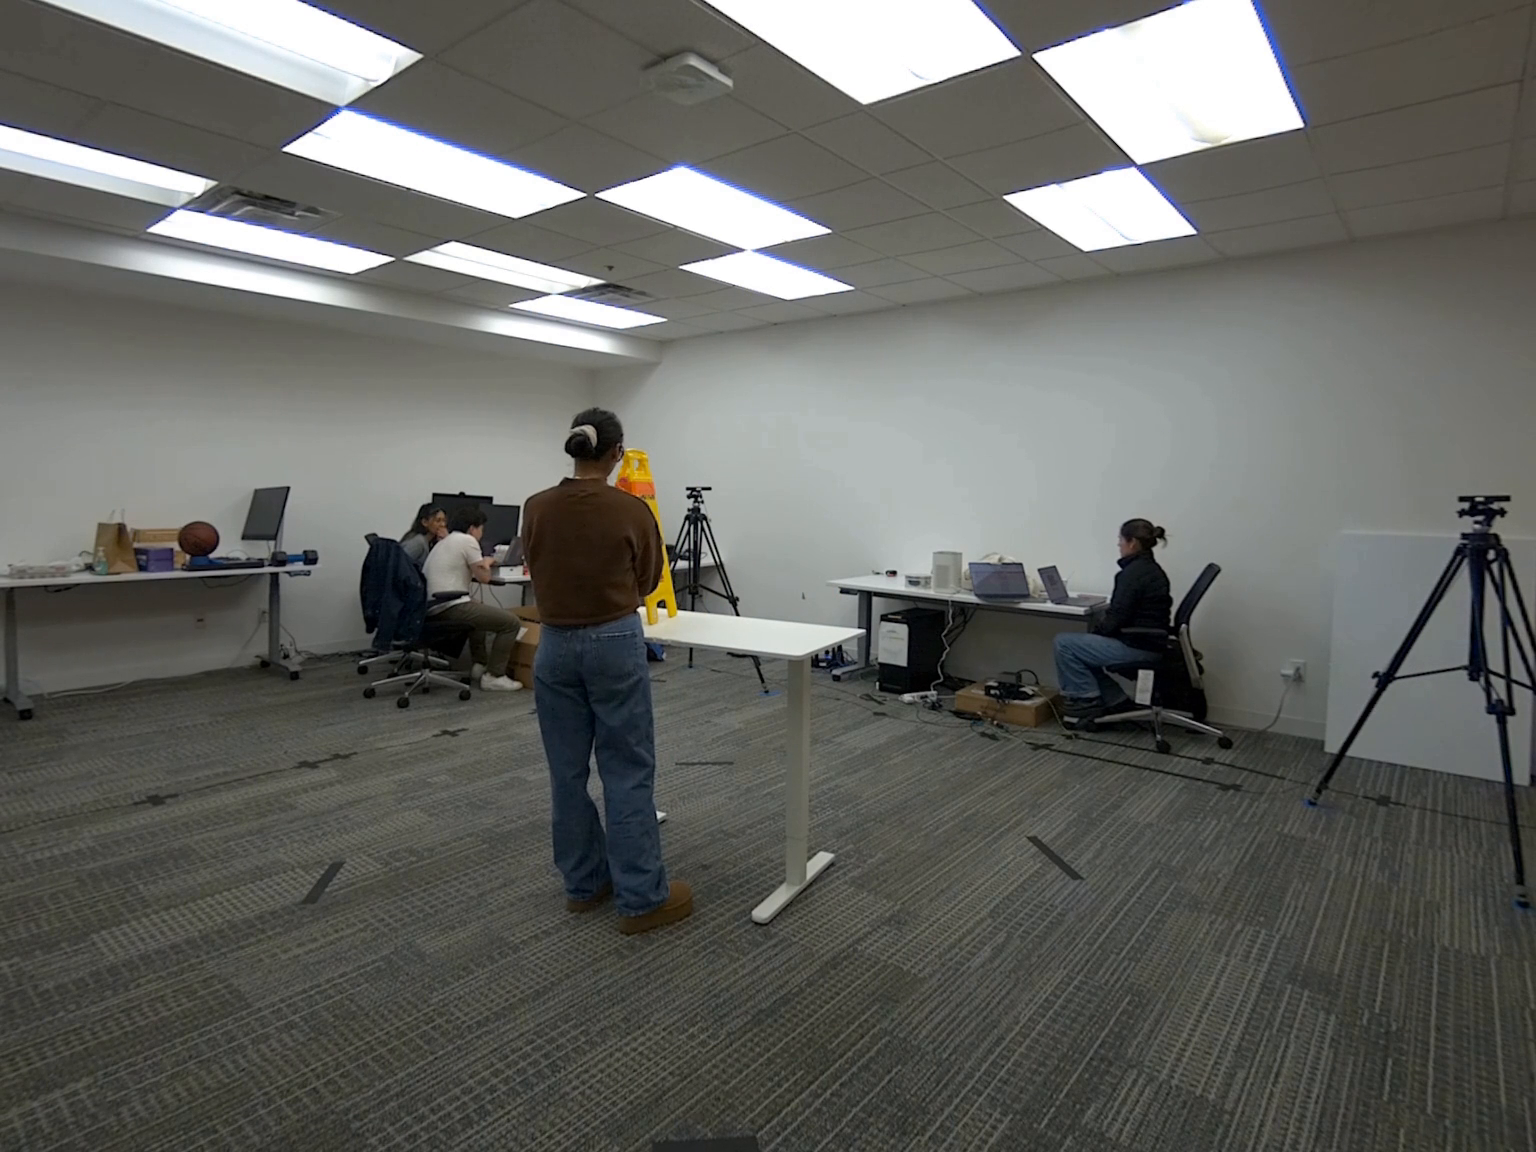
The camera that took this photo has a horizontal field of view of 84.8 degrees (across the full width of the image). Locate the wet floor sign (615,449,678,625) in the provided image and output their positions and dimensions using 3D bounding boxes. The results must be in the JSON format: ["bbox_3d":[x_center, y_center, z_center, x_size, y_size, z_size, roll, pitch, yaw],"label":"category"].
[{"bbox_3d":[-0.533,-0.162,3.281,0.295,0.645,0.278,2,2,16],"label":"wet floor sign"}]
